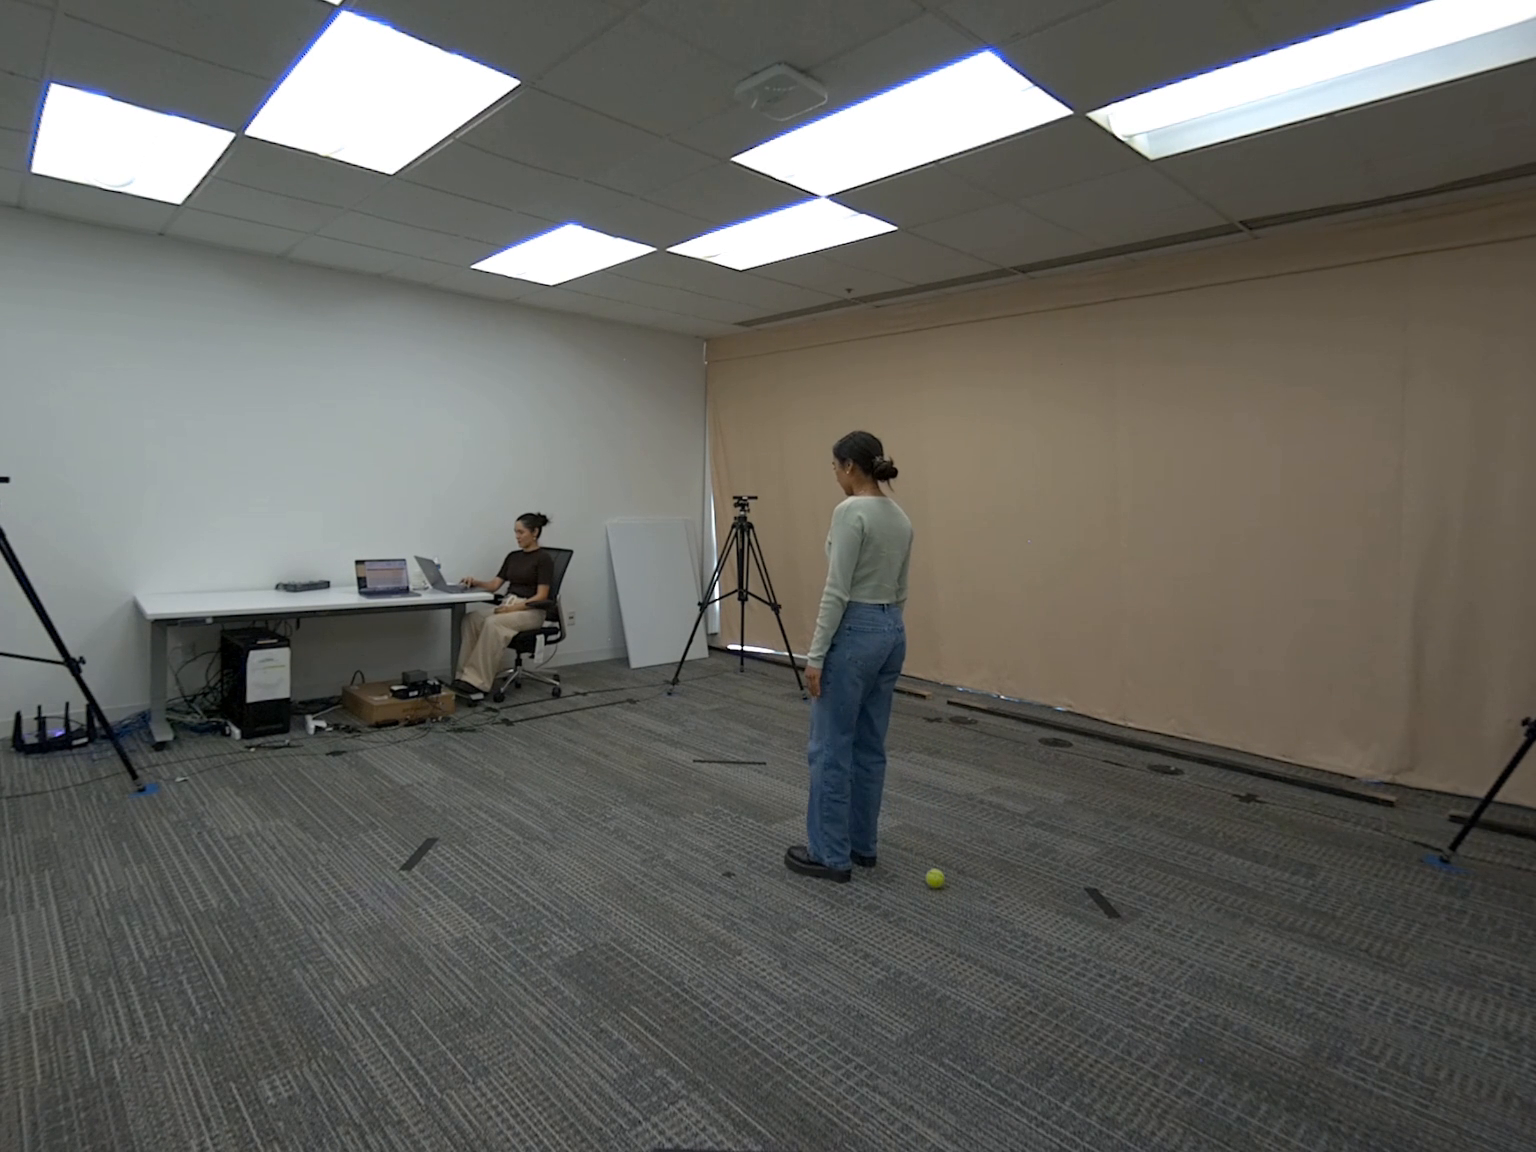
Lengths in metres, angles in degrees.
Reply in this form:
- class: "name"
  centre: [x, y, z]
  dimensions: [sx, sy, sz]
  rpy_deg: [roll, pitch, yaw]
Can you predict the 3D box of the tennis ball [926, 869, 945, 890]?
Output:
- class: "tennis ball"
  centre: [0.586, 1.076, 3.039]
  dimensions: [0.066, 0.066, 0.067]
  rpy_deg: [1, 4, -1]
